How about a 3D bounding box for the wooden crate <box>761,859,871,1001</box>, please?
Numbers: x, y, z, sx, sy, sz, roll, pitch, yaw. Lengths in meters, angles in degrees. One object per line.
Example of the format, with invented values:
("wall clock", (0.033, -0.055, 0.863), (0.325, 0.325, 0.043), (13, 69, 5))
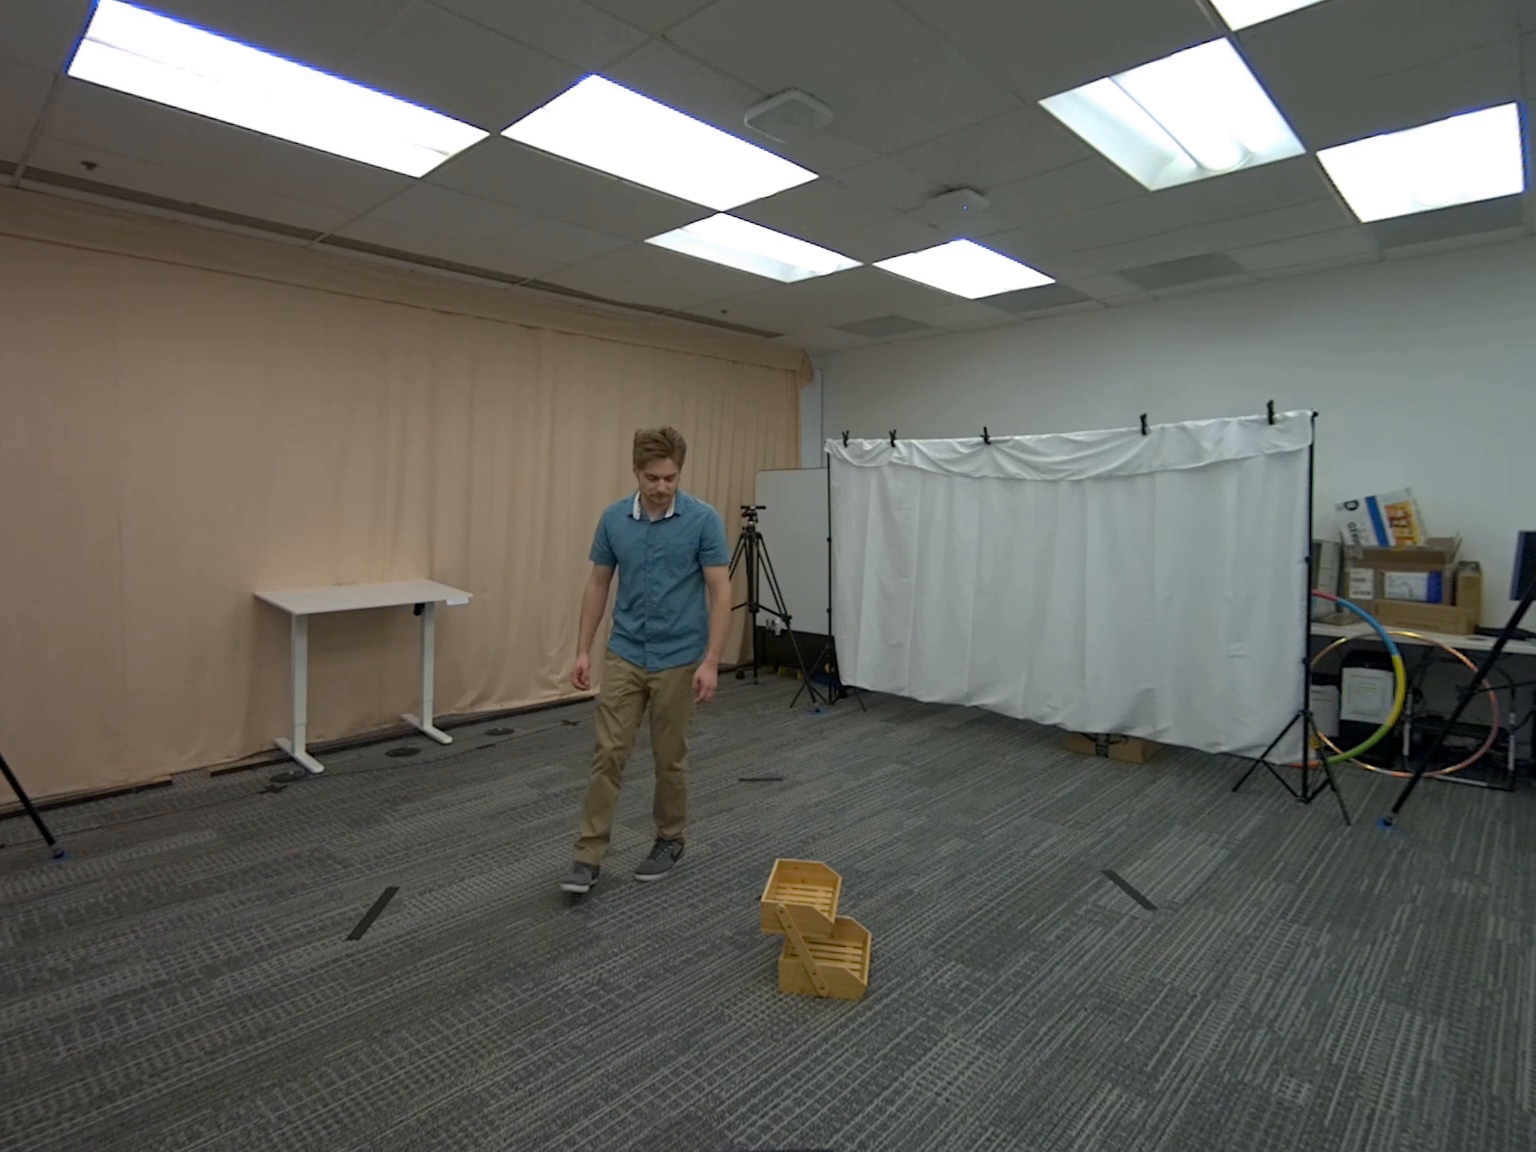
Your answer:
("wooden crate", (0.166, 1.050, 2.528), (0.306, 0.273, 0.321), (0, 3, 10))
